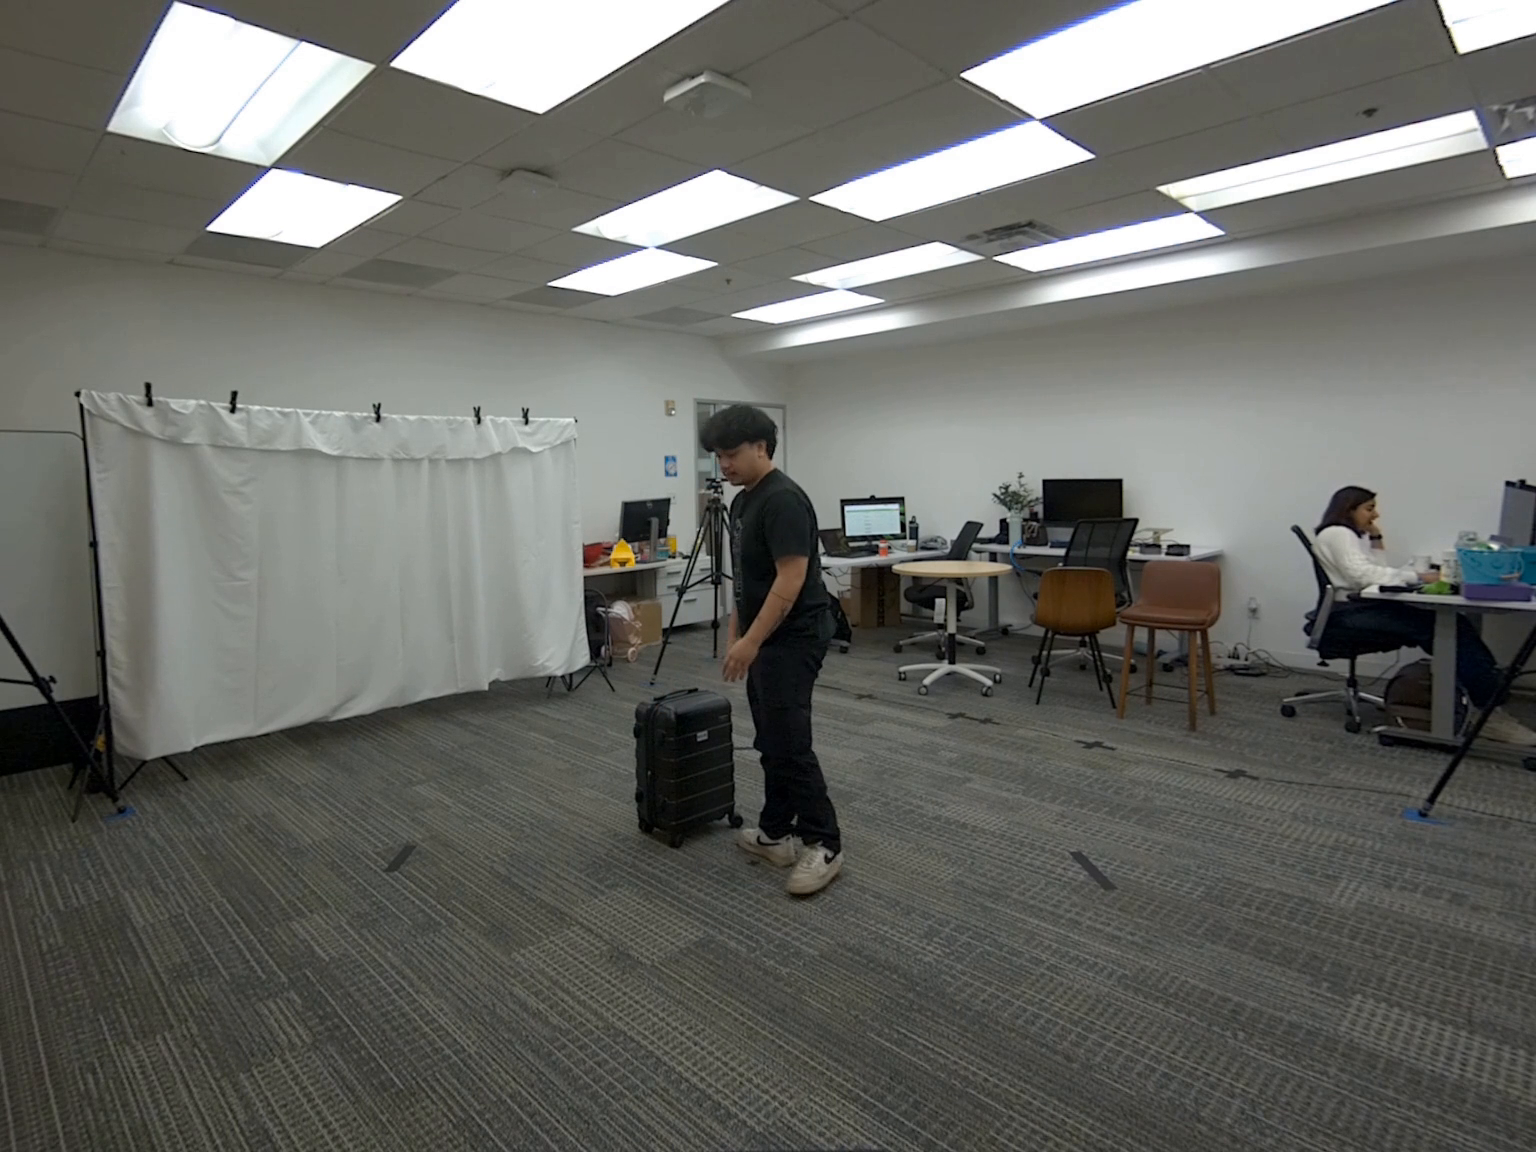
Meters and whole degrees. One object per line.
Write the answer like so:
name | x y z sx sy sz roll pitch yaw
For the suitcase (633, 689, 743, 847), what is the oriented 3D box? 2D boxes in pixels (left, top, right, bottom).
suitcase | -0.325 0.736 3.397 0.365 0.547 0.256 -5 6 -42
